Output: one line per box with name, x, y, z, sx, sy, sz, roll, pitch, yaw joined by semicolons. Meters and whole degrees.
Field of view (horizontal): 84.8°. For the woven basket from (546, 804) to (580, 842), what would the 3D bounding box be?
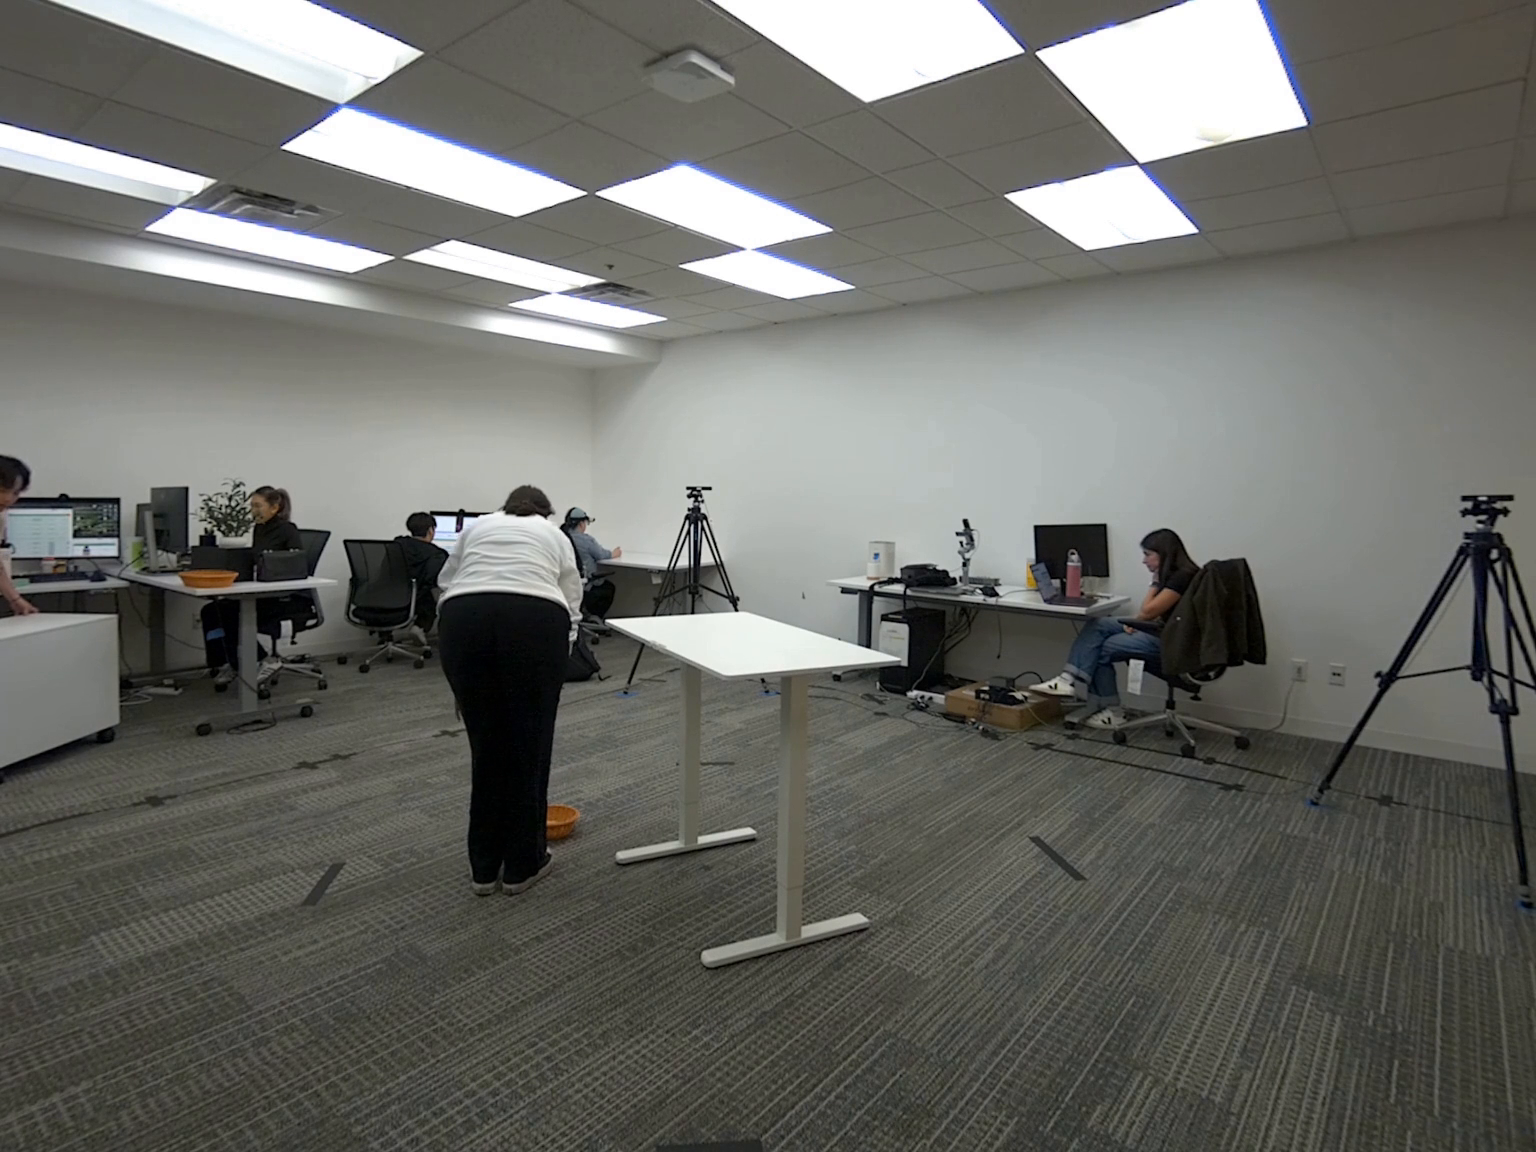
woven basket;-0.931;0.982;3.409;0.350;0.073;0.253;1;3;-1
